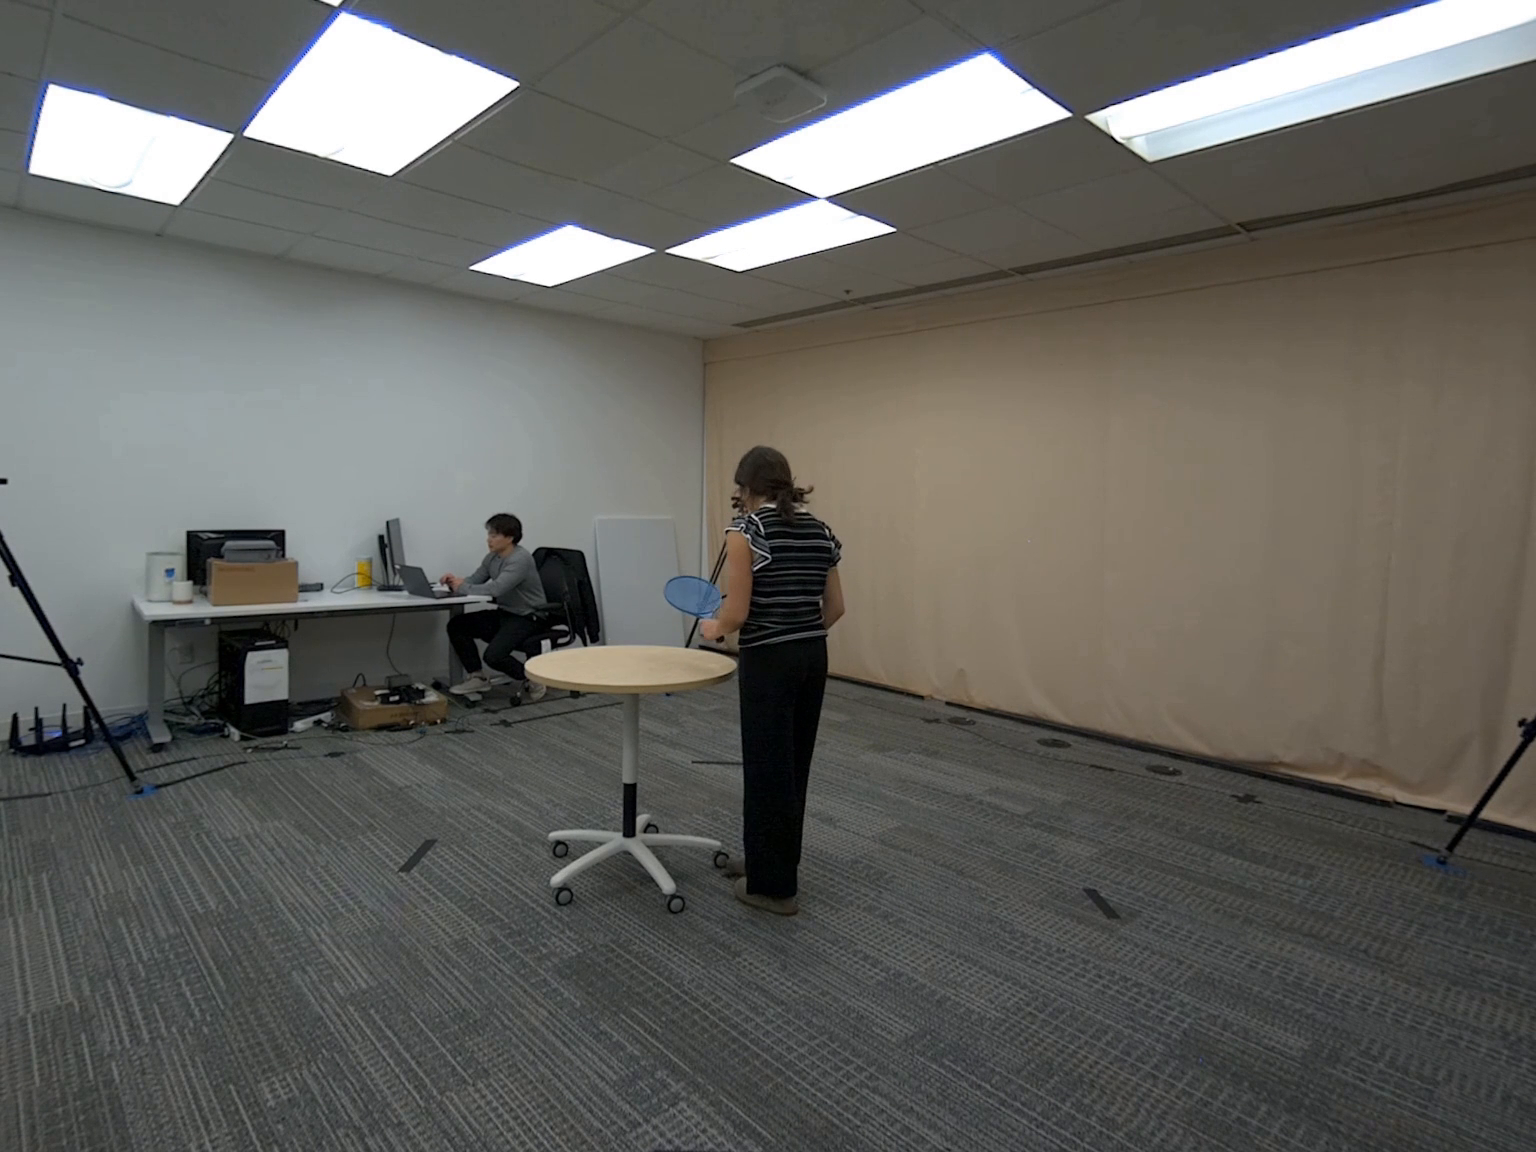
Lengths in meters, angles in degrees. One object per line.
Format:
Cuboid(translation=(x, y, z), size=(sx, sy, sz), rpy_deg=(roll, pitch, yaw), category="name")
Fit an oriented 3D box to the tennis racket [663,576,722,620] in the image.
Cuboid(translation=(-0.240, 0.114, 3.151), size=(0.210, 0.031, 0.447), rpy_deg=(-9, 36, -27), category="tennis racket")
